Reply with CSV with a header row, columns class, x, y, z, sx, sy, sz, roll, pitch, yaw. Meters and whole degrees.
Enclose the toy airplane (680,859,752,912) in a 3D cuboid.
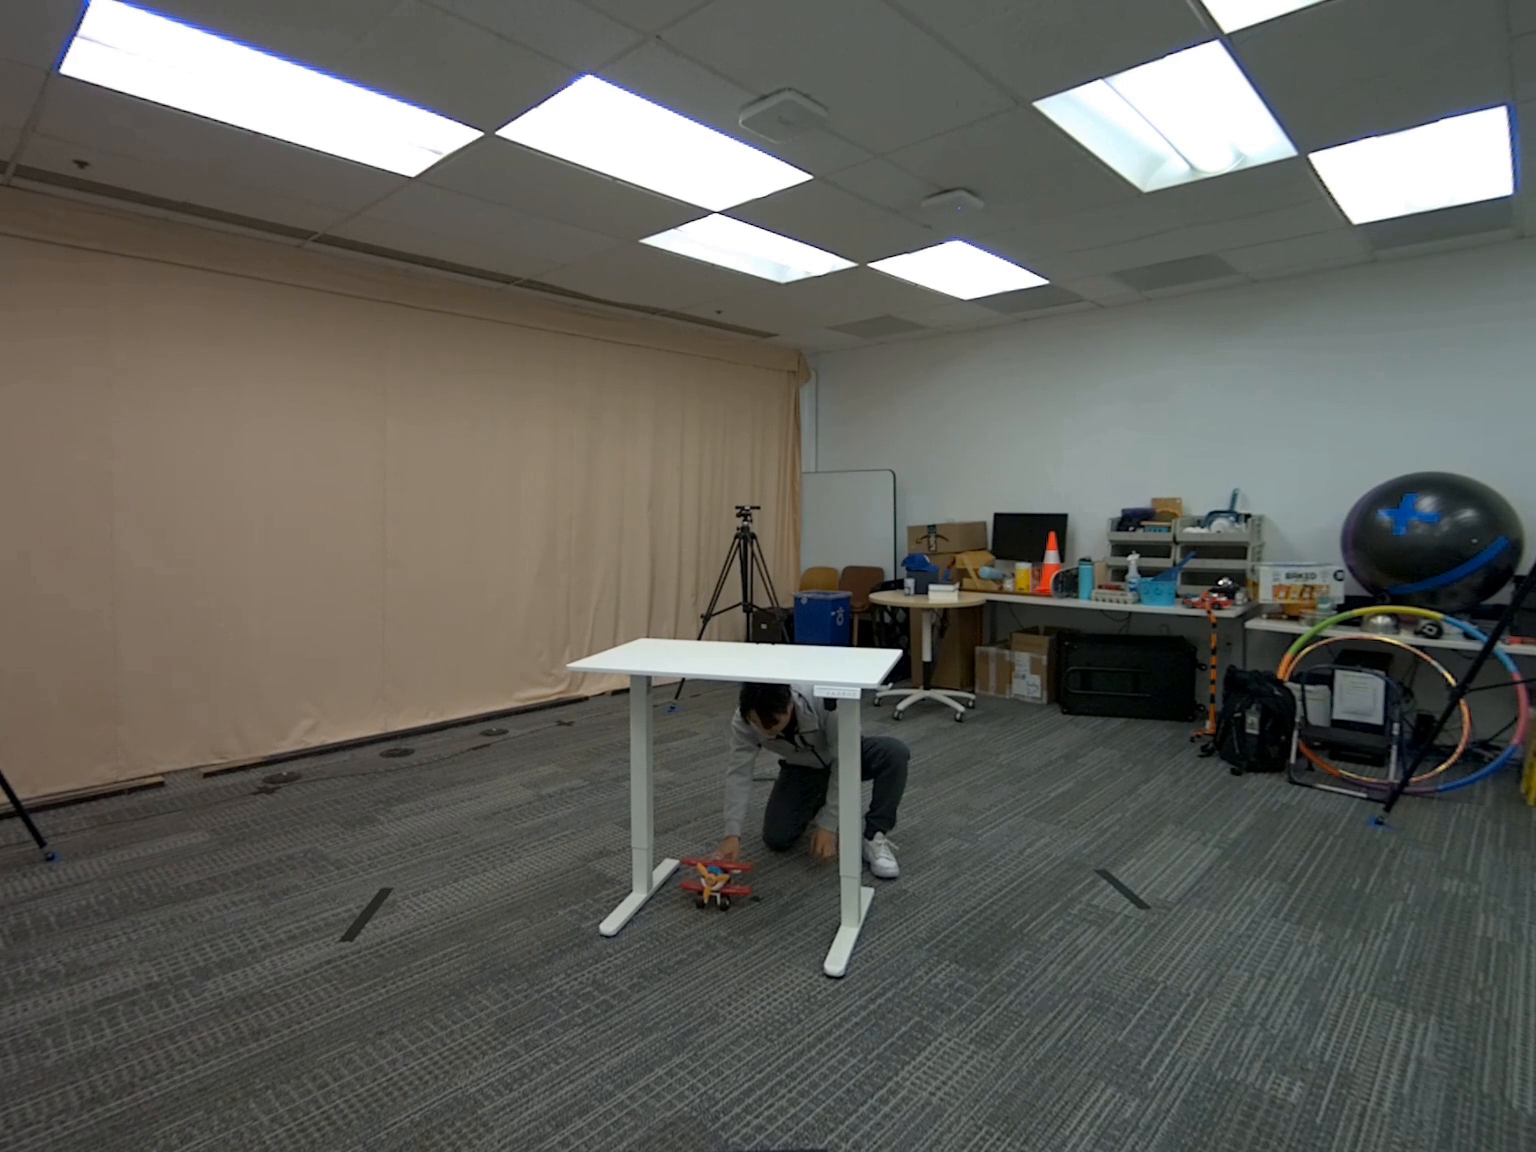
class,x,y,z,sx,sy,sz,roll,pitch,yaw
toy airplane,-0.193,1.073,2.990,0.247,0.156,0.264,0,5,-18
